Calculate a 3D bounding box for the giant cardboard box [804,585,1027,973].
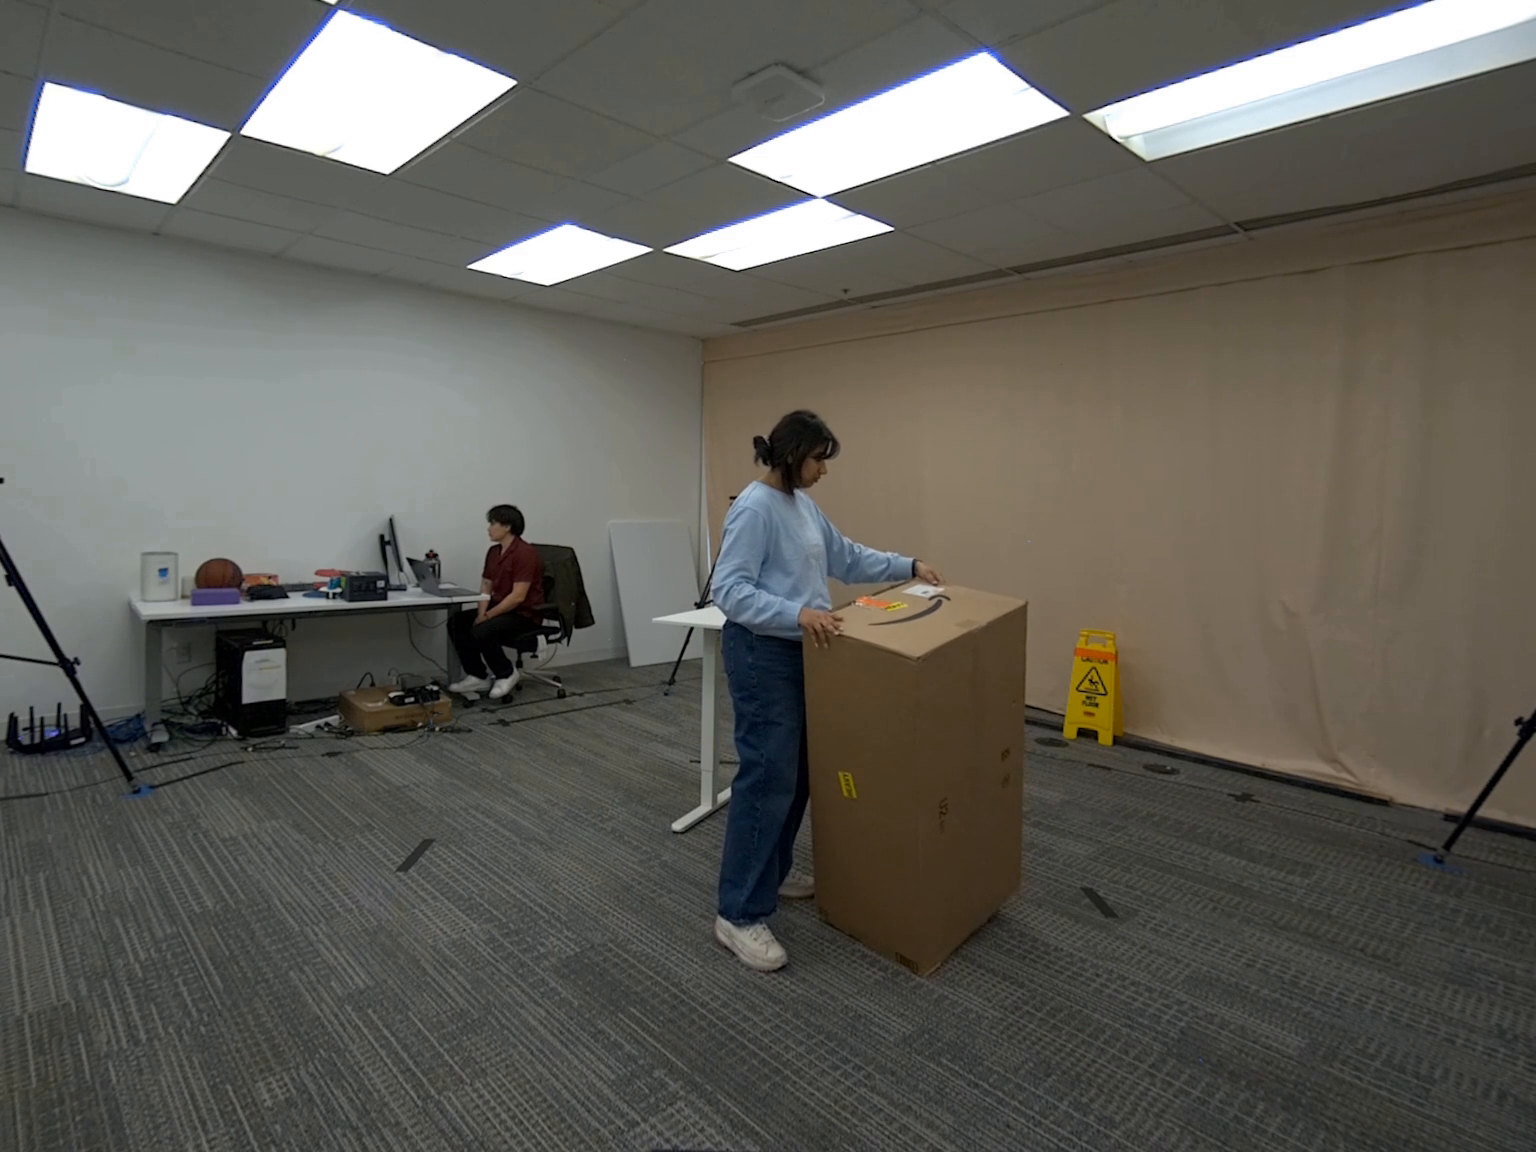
[{"bbox_3d":[0.478,0.599,2.675,0.438,1.014,0.568,12,21,43],"label":"giant cardboard box"}]
